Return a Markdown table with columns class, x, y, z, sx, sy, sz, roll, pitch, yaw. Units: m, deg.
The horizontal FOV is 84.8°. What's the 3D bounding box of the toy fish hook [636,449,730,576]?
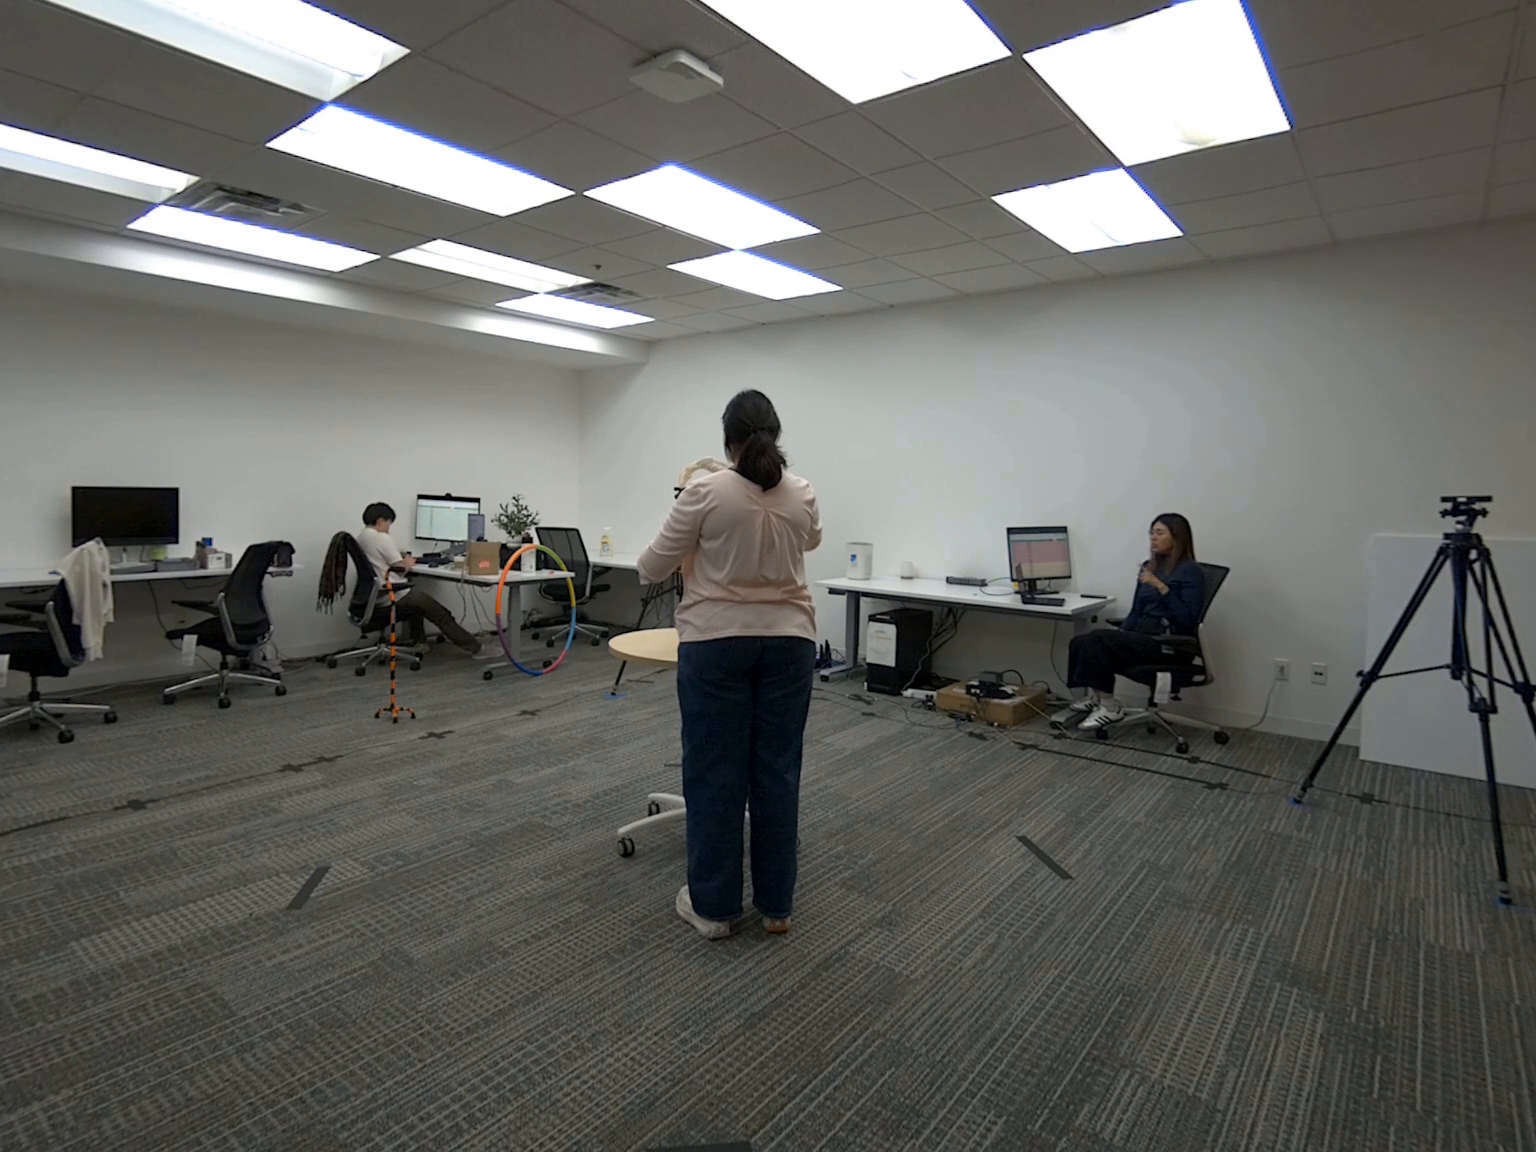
| class | x | y | z | sx | sy | sz | roll | pitch | yaw |
| --- | --- | --- | --- | --- | --- | --- | --- | --- | --- |
| toy fish hook | -0.265 | -0.231 | 3.026 | 0.225 | 0.513 | 0.047 | 23 | -37 | 1 |
